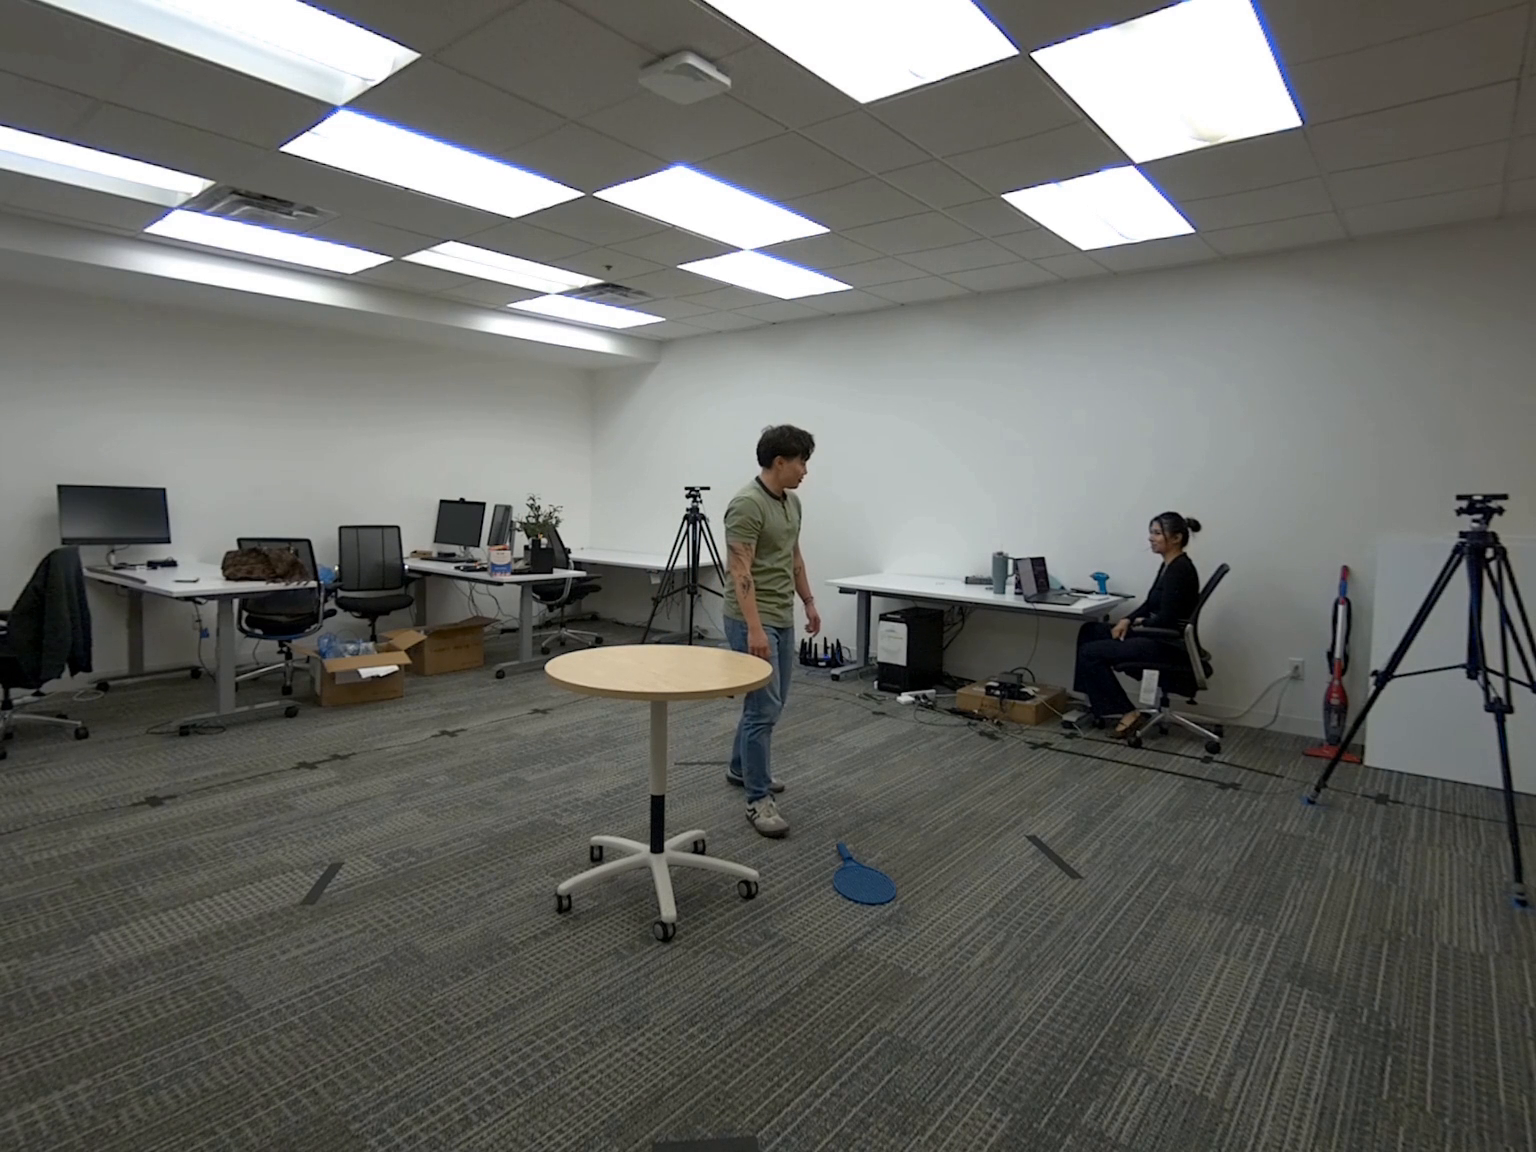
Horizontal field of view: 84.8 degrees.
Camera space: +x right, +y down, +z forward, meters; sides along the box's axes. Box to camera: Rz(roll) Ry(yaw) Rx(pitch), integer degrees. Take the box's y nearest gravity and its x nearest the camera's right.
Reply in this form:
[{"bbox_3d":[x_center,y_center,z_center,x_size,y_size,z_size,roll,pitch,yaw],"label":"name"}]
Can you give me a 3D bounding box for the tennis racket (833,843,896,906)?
[{"bbox_3d":[0.317,1.065,3.068,0.212,0.031,0.439,1,7,-10],"label":"tennis racket"}]
